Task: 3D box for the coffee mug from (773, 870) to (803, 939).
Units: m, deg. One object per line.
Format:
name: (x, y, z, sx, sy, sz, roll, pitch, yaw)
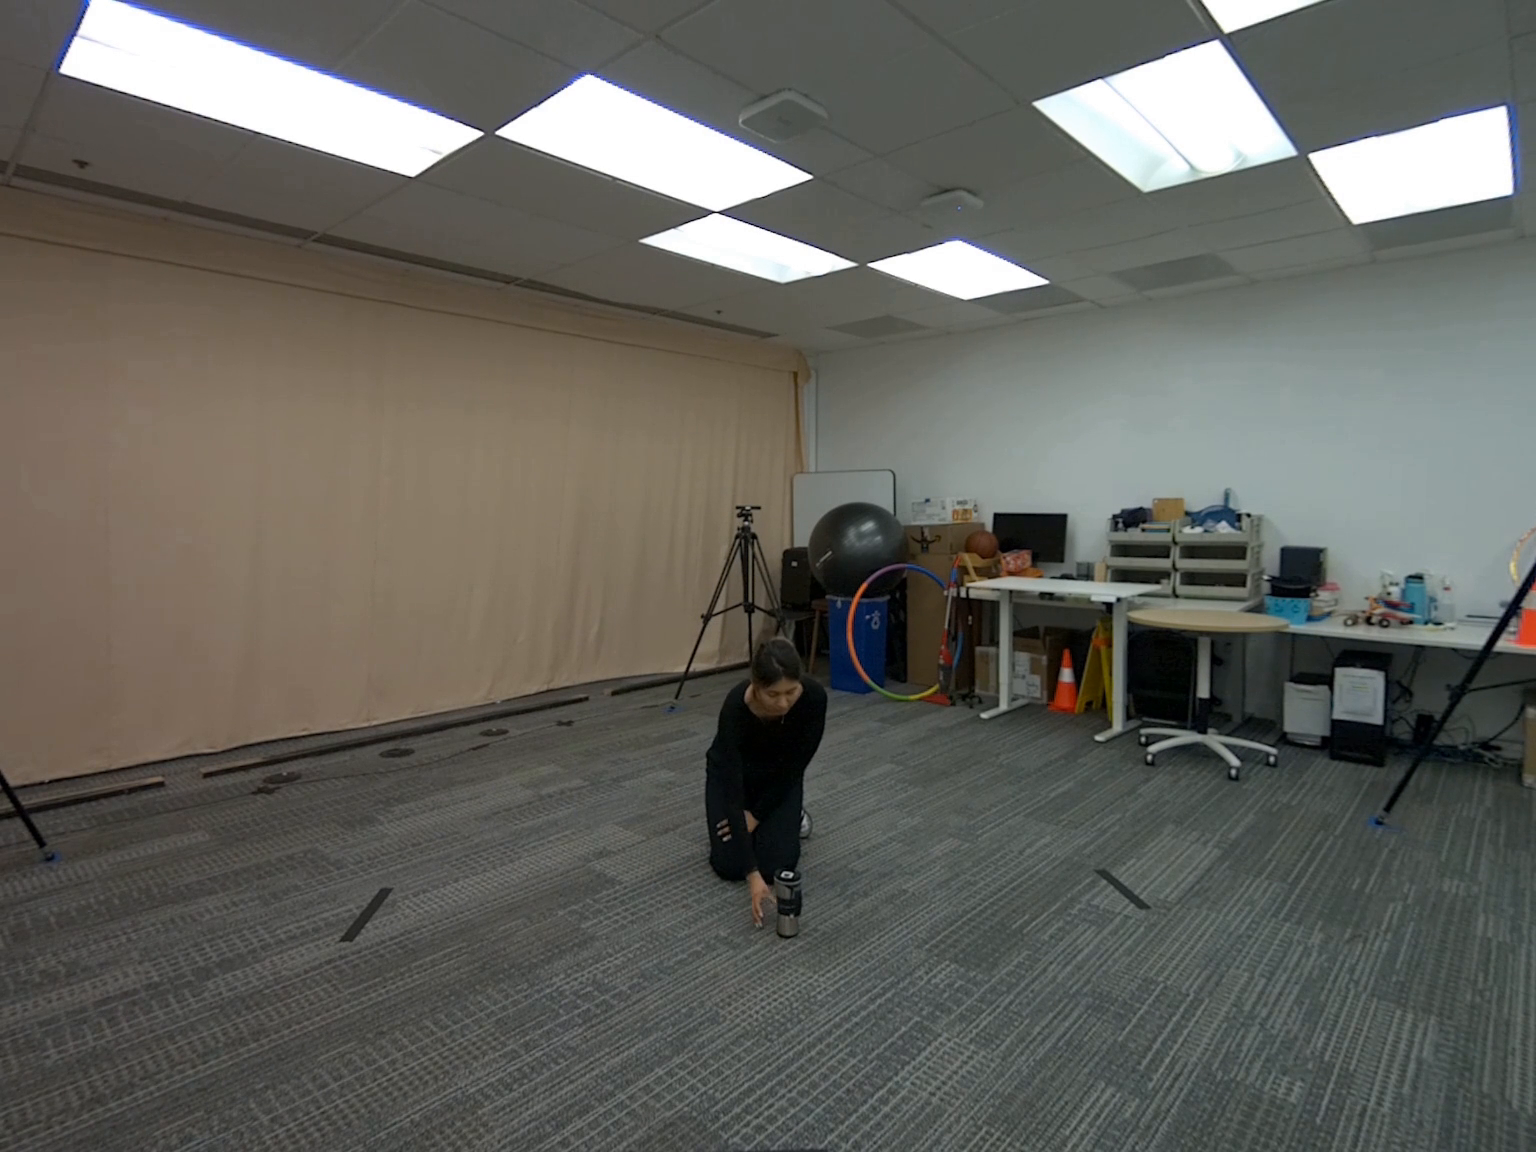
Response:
coffee mug: (0.059, 1.061, 2.715, 0.089, 0.203, 0.121, 1, 2, 7)
